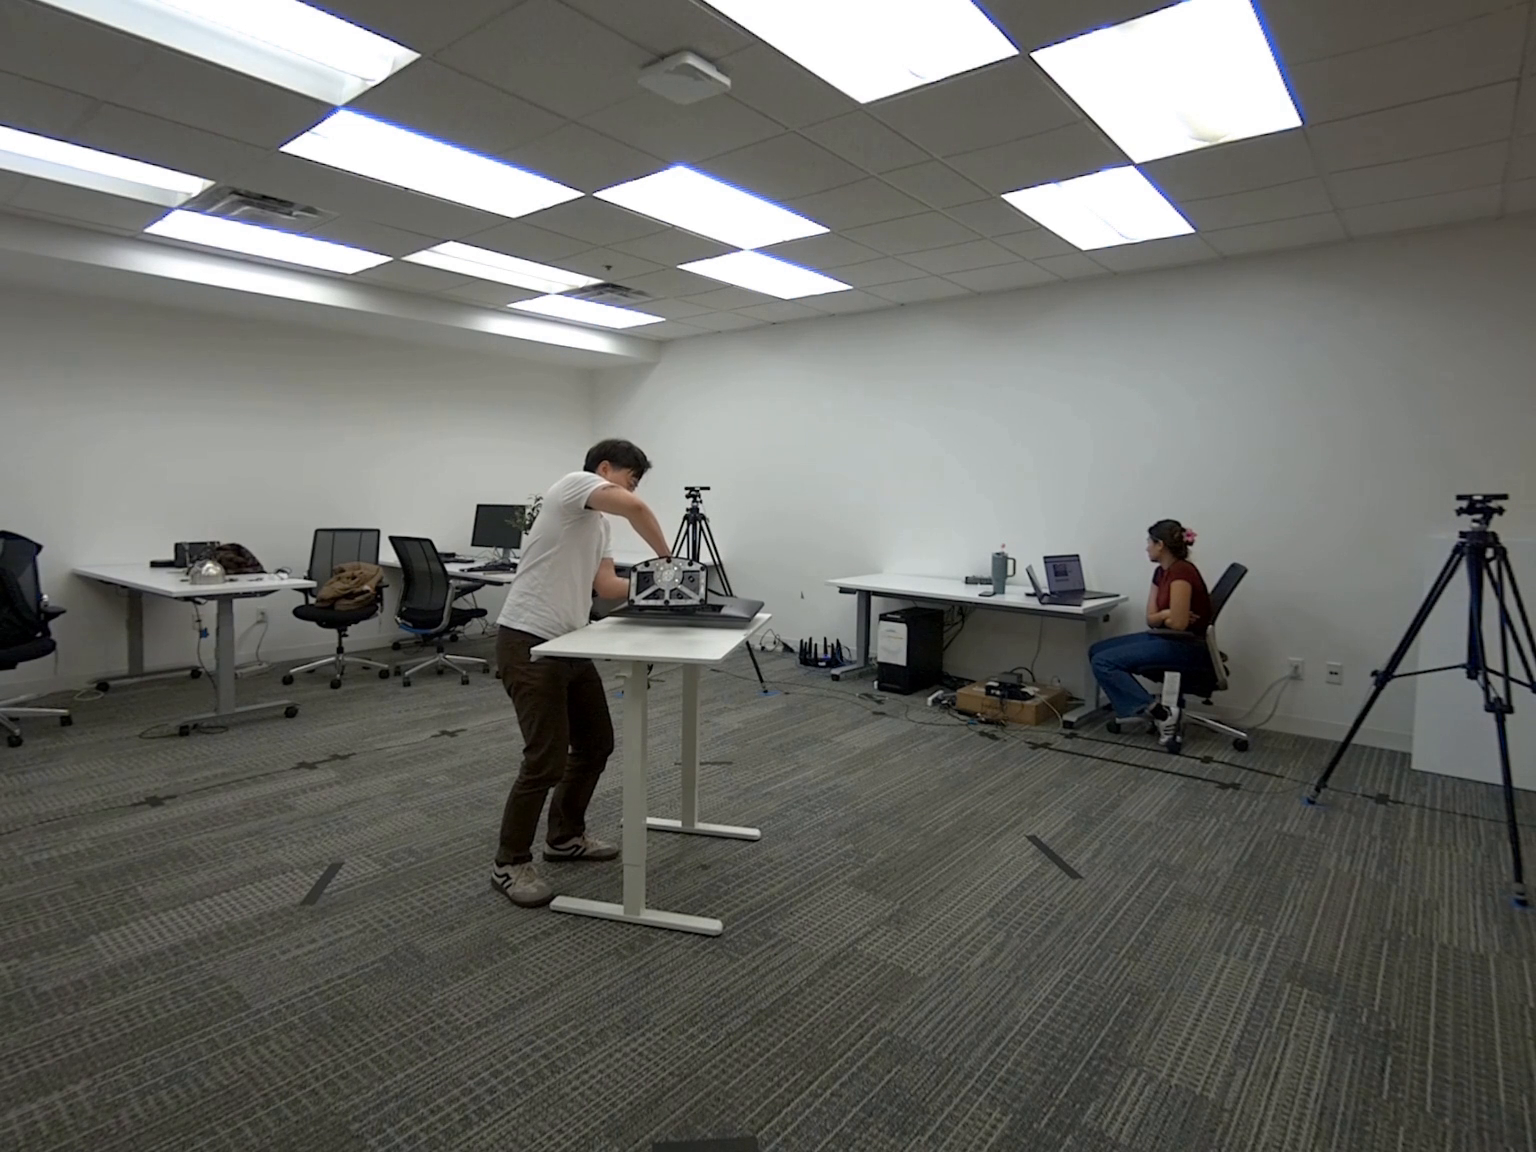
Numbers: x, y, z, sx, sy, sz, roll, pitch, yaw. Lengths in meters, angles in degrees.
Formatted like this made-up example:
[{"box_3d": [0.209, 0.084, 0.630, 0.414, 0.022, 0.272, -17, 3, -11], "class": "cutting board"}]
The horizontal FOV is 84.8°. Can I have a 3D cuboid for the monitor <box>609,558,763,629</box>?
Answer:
[{"box_3d": [-0.324, 0.076, 3.176, 0.546, 0.189, 0.510, 2, -11, 11], "class": "monitor"}]
